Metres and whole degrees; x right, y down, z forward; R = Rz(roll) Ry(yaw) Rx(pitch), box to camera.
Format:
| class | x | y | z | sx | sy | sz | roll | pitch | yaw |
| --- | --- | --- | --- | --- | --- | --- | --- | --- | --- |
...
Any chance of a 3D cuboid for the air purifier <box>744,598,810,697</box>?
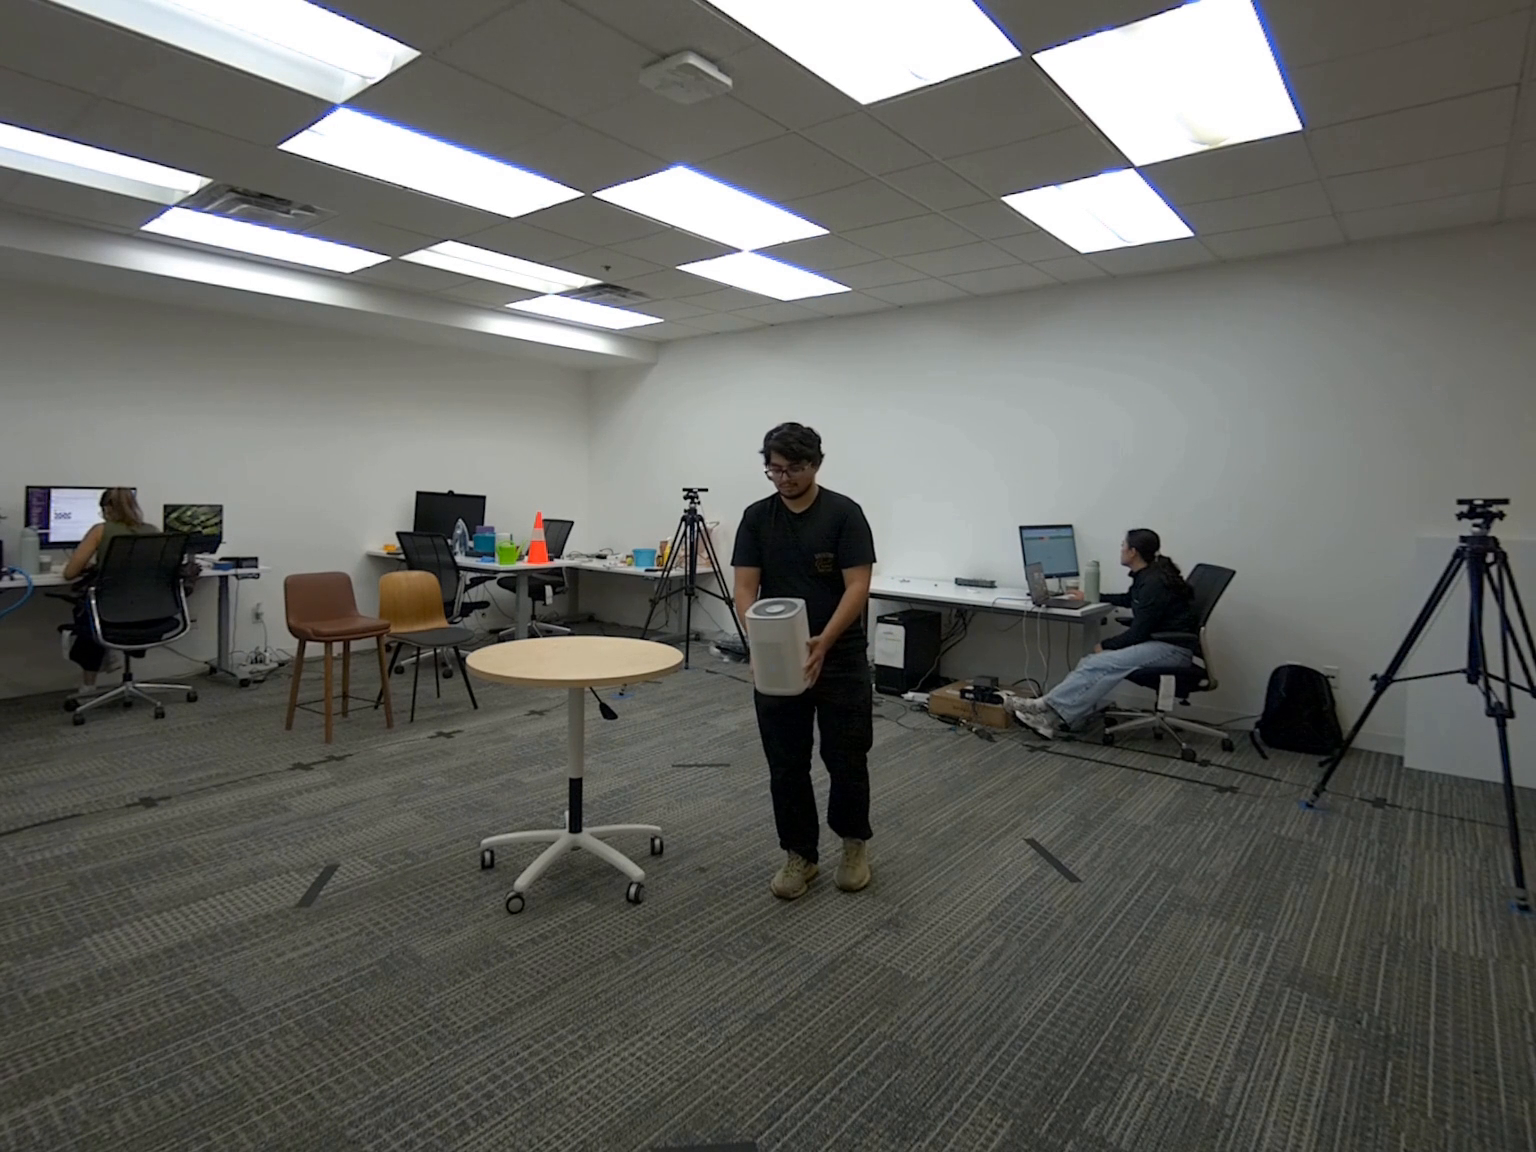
| class | x | y | z | sx | sy | sz | roll | pitch | yaw |
| --- | --- | --- | --- | --- | --- | --- | --- | --- | --- |
| air purifier | 0.033 | 0.219 | 2.662 | 0.175 | 0.261 | 0.170 | -2 | 17 | 19 |
